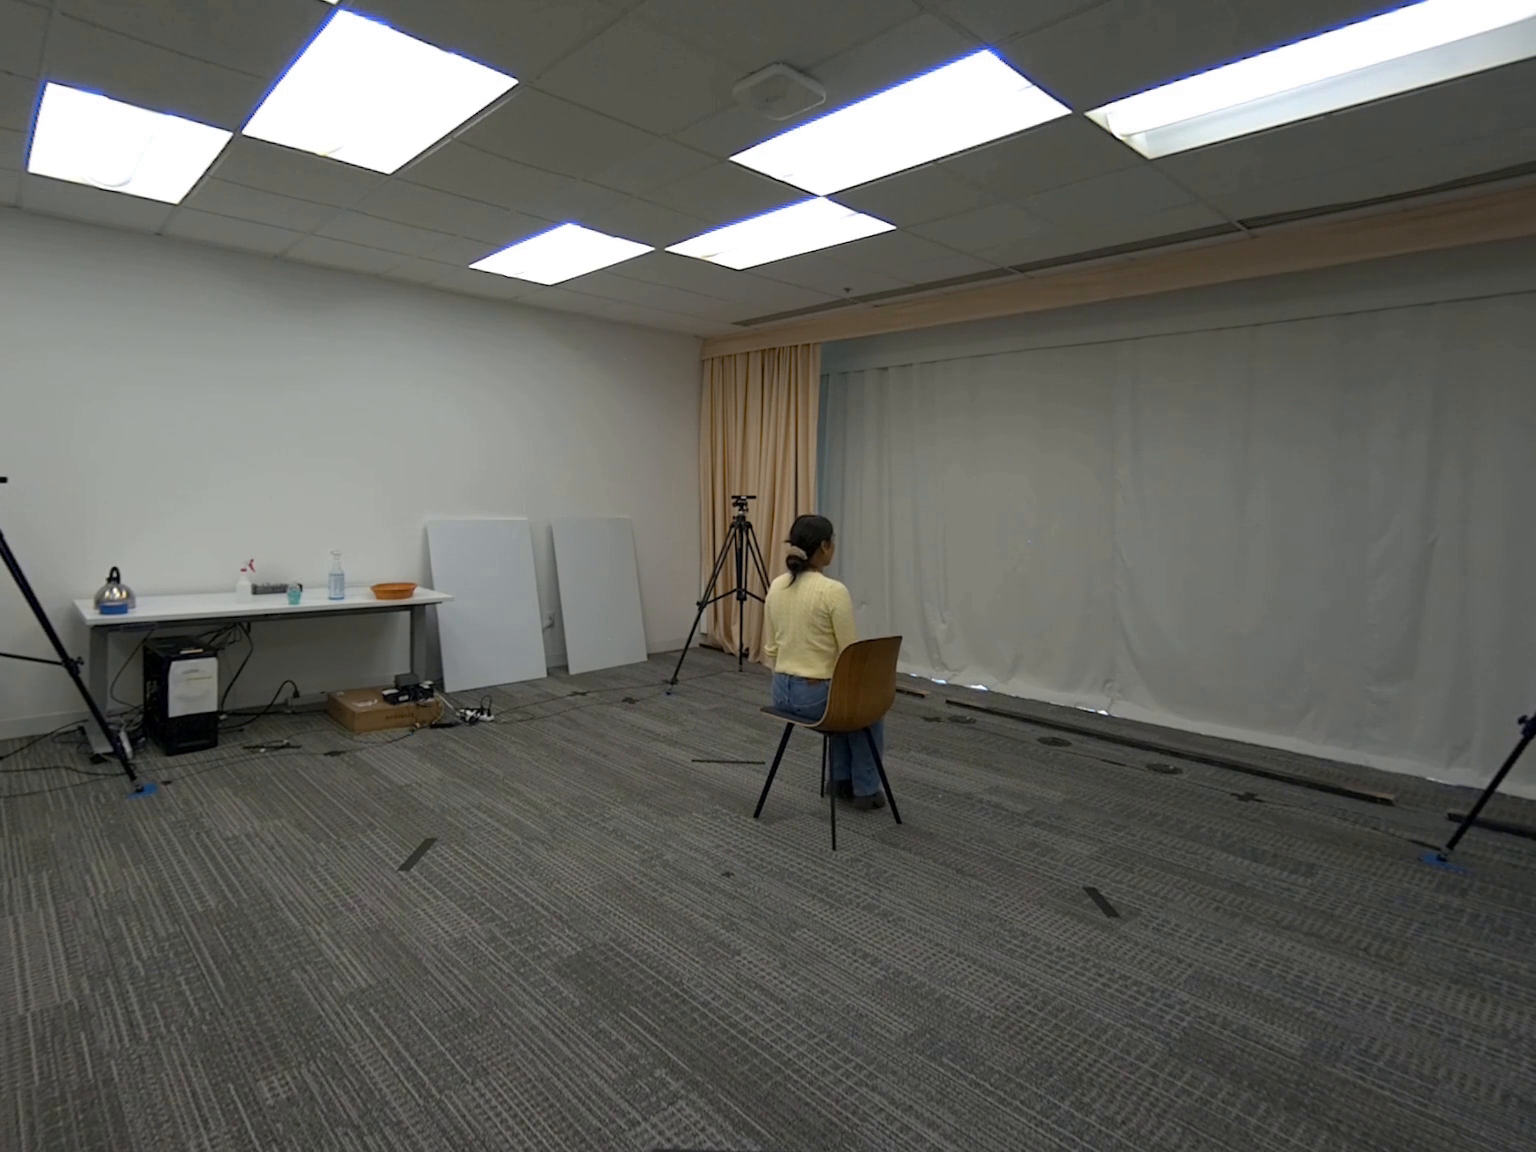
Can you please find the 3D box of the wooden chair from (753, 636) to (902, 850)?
[{"bbox_3d":[0.252,0.638,3.622,0.467,0.874,0.537,-1,8,-44],"label":"wooden chair"}]
